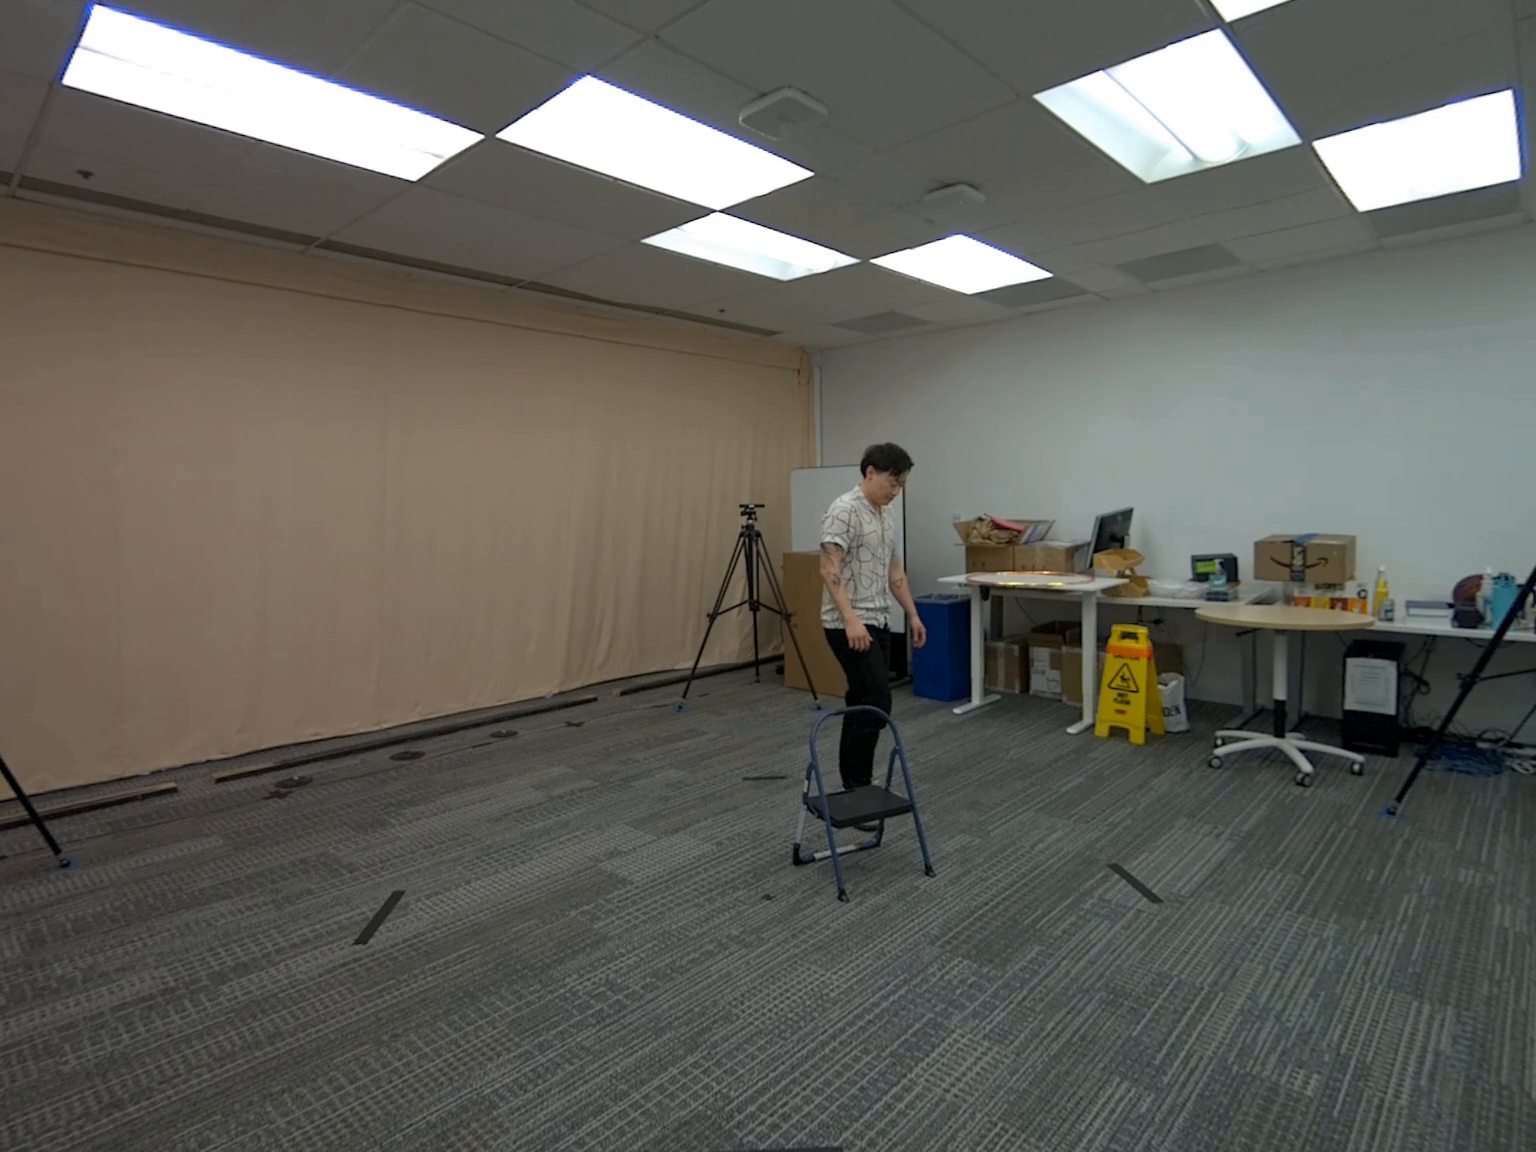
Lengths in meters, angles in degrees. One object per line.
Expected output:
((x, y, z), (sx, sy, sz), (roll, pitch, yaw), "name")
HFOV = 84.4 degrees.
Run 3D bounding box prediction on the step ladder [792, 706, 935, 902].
((0.354, 0.811, 3.171), (0.419, 0.605, 0.359), (-3, 4, -30), "step ladder")
